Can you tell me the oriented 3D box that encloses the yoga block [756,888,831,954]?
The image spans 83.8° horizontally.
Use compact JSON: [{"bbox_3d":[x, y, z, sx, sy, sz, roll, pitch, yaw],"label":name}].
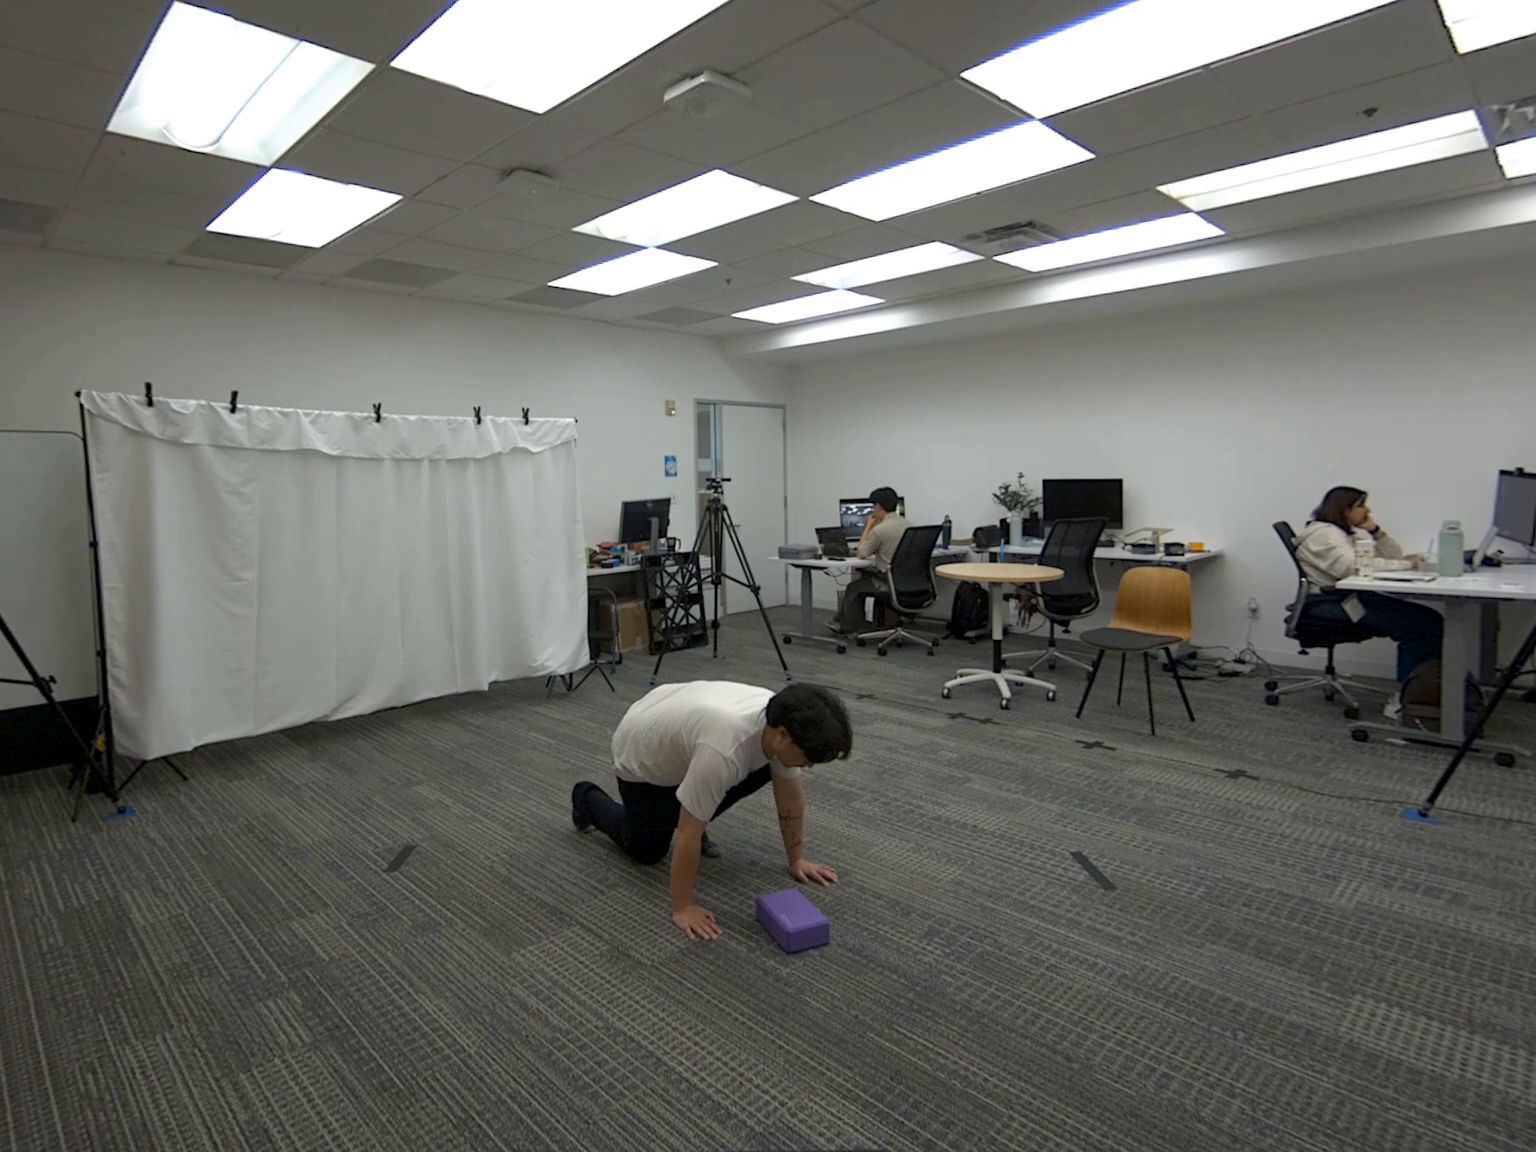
[{"bbox_3d":[0.073,1.062,2.629,0.146,0.076,0.235,-3,7,-24],"label":"yoga block"}]
